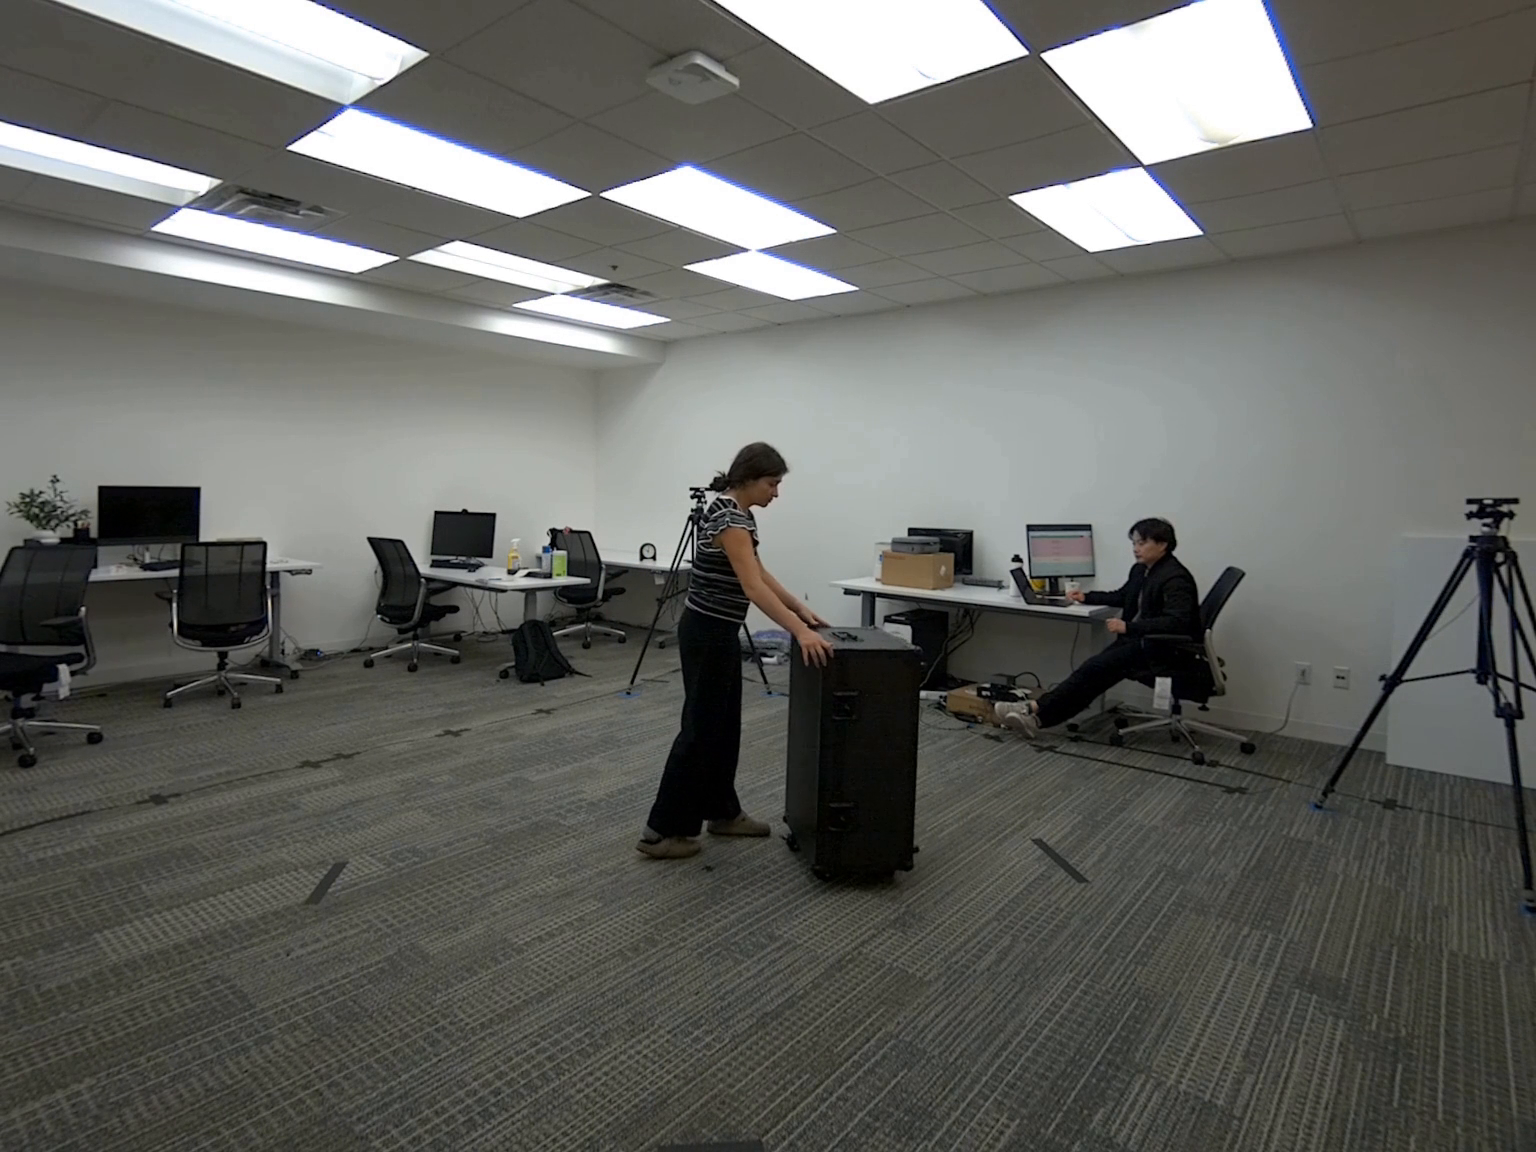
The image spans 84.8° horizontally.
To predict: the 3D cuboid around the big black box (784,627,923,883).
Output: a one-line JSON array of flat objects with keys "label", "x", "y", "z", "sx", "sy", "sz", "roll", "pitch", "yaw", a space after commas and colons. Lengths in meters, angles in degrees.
[{"label": "big black box", "x": 0.294, "y": 0.645, "z": 3.168, "sx": 0.392, "sy": 0.859, "sz": 0.528, "roll": 2, "pitch": 3, "yaw": -10}]
